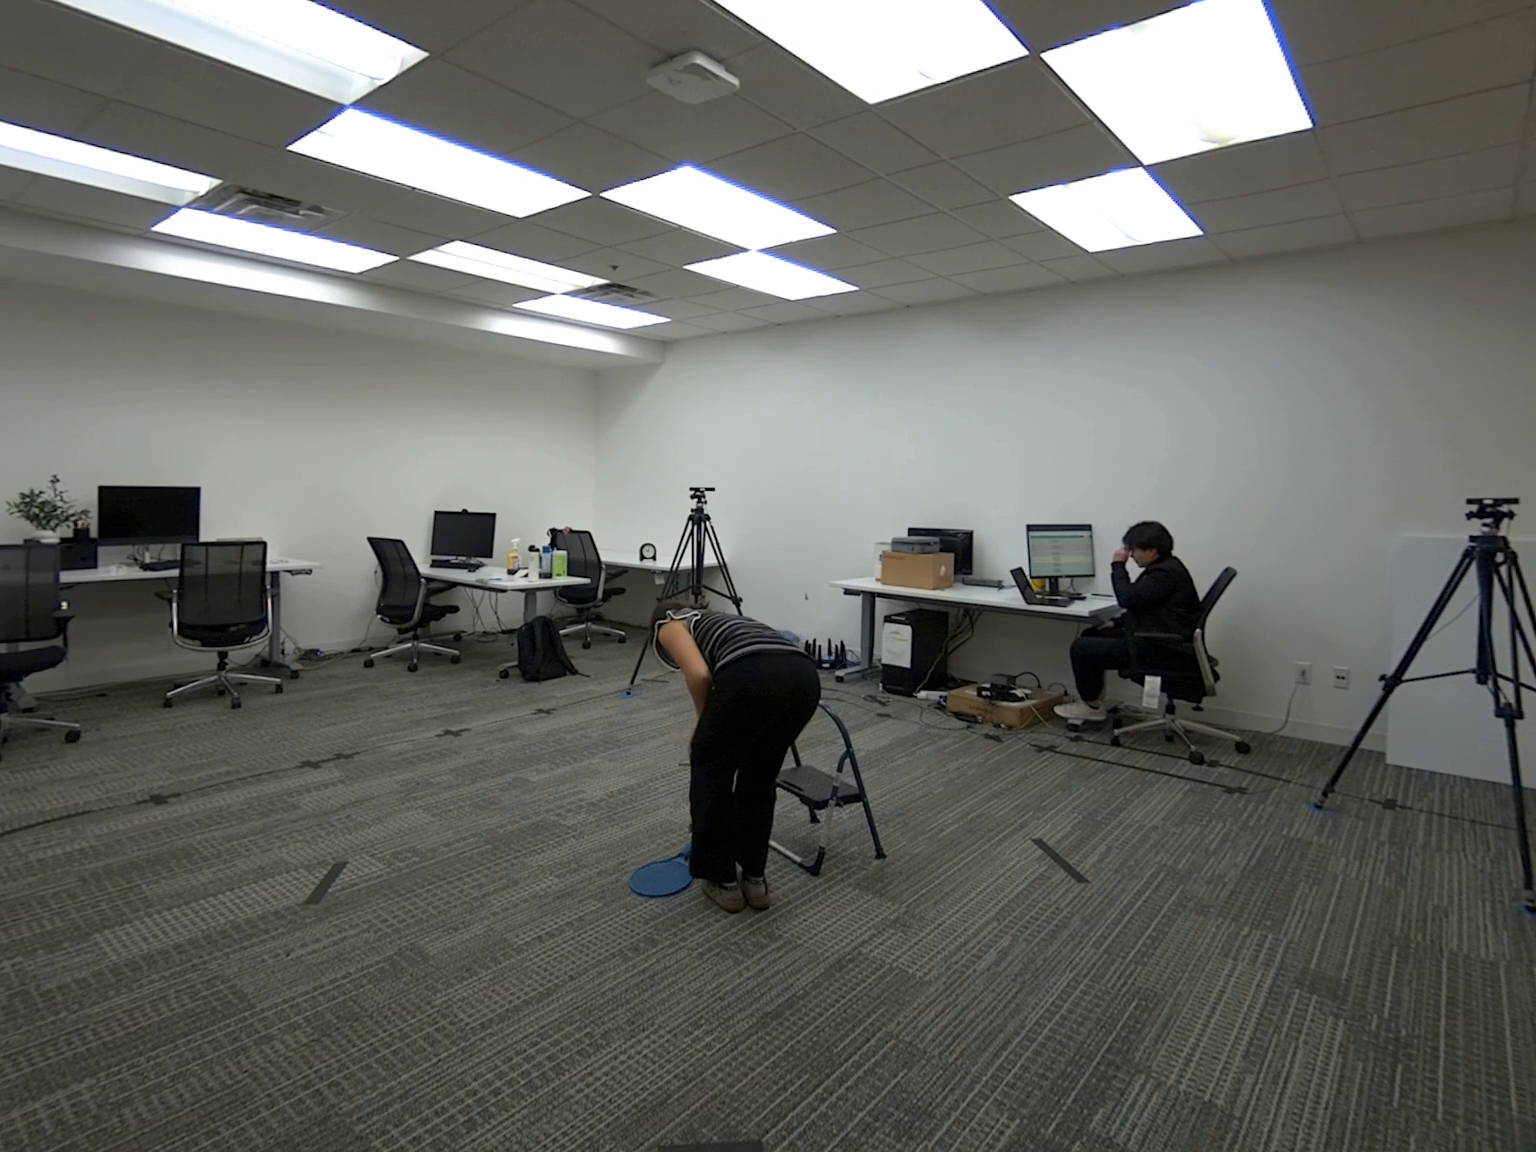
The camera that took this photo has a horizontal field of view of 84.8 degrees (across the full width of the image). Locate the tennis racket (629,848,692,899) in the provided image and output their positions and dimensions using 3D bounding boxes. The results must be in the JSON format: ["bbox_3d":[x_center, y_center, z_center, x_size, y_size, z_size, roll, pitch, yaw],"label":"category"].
[{"bbox_3d":[-0.359,1.052,3.087,0.219,0.031,0.425,2,7,21],"label":"tennis racket"}]
